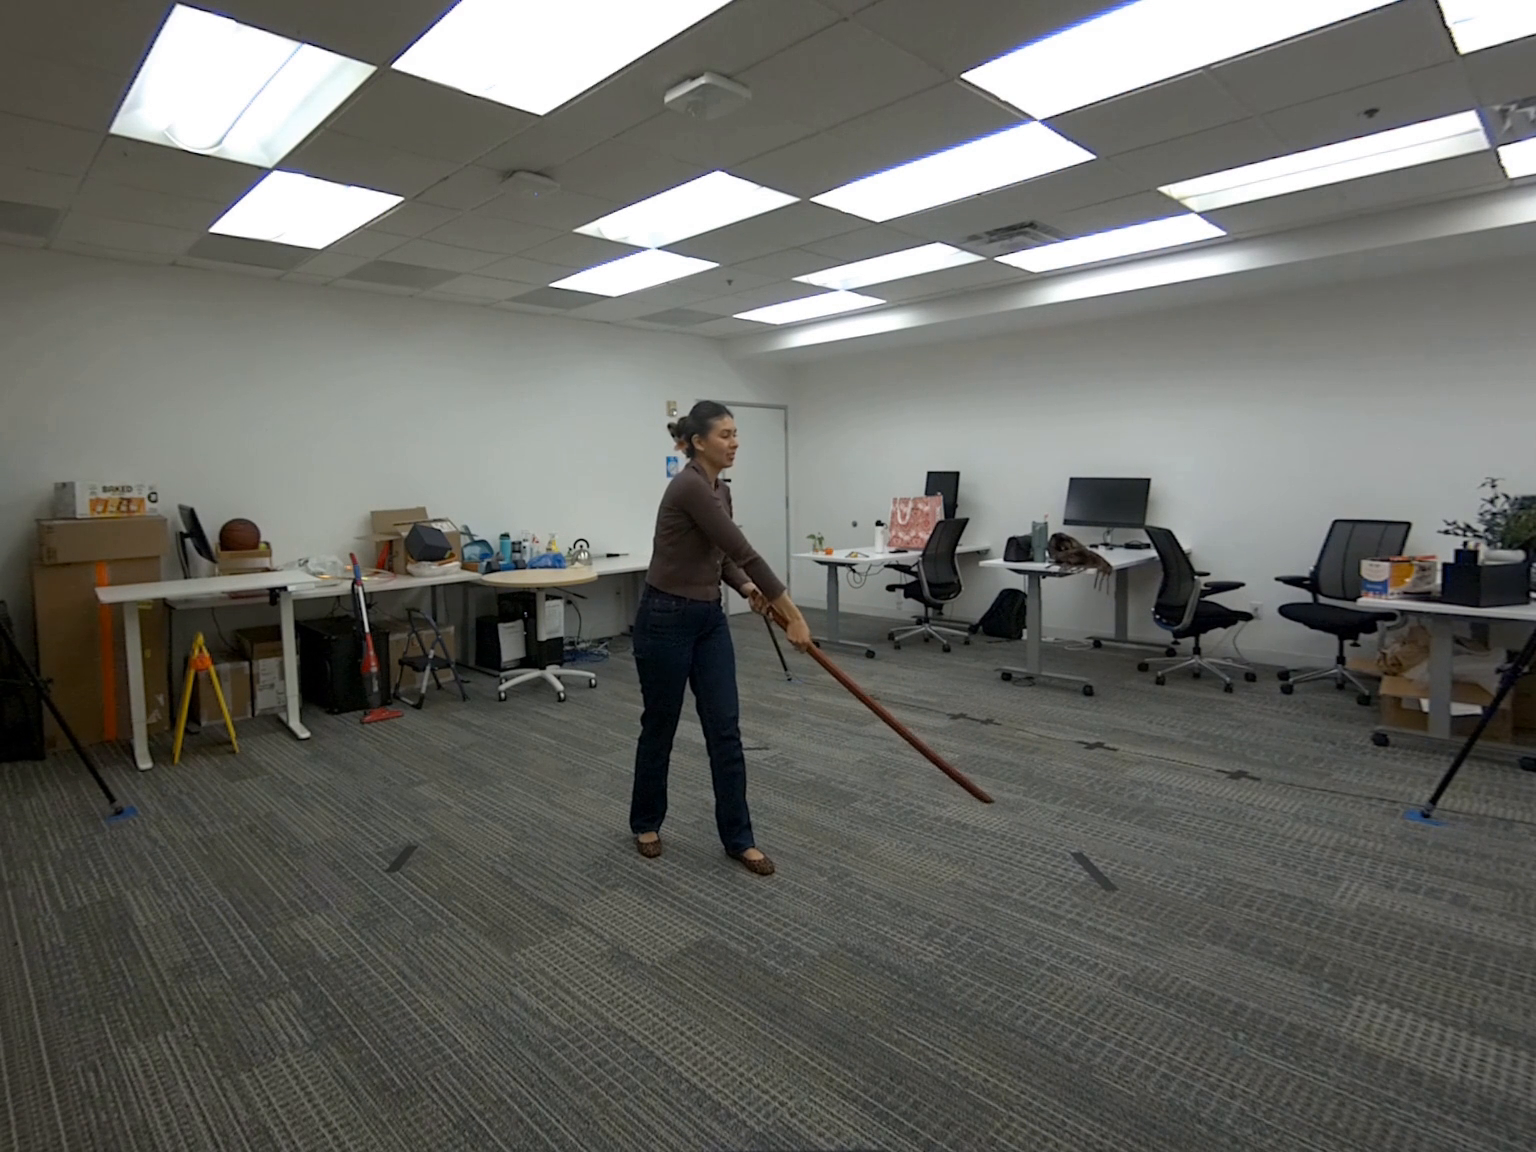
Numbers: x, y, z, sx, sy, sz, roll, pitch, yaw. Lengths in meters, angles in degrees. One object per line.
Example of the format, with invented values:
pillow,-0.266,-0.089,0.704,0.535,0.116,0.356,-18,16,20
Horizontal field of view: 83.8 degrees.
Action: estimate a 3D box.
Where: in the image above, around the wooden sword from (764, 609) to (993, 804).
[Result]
wooden sword,0.339,0.401,2.845,1.047,0.051,0.023,41,6,17
